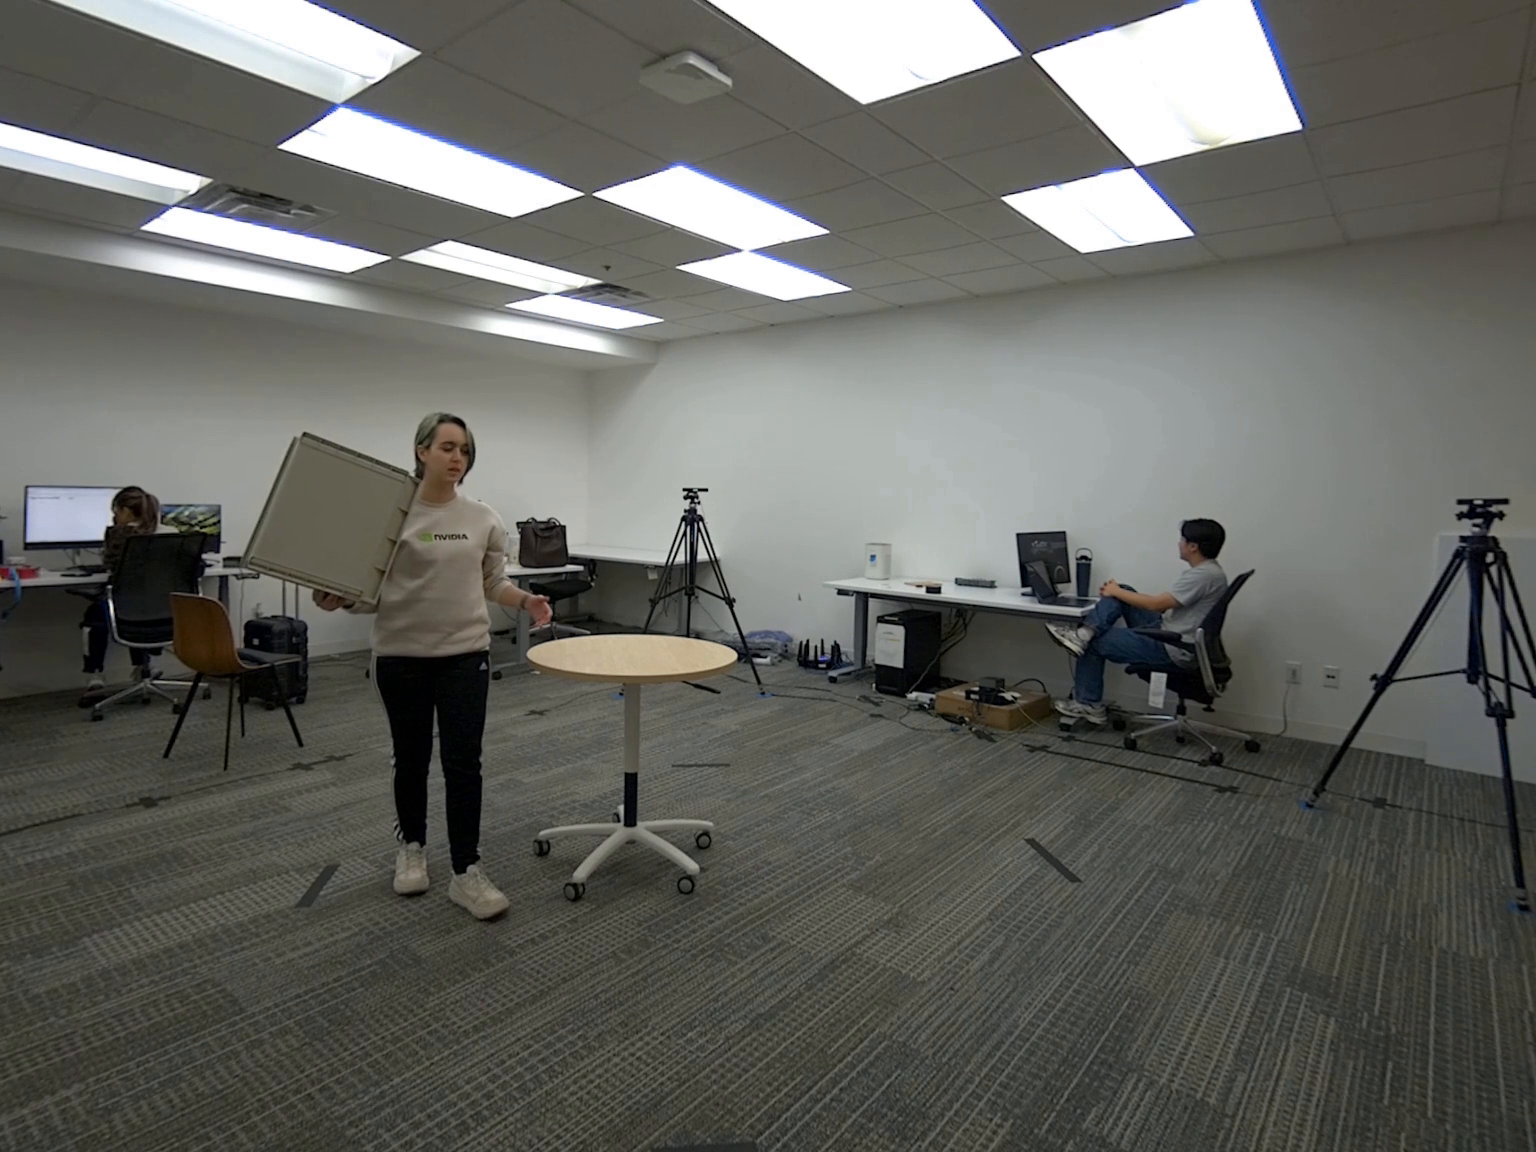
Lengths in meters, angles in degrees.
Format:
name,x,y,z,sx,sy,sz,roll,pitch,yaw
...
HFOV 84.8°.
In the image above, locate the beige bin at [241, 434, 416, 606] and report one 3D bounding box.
name,x,y,z,sx,sy,sz,roll,pitch,yaw
beige bin,-1.313,-0.171,2.550,0.364,0.425,0.194,24,-14,-29
